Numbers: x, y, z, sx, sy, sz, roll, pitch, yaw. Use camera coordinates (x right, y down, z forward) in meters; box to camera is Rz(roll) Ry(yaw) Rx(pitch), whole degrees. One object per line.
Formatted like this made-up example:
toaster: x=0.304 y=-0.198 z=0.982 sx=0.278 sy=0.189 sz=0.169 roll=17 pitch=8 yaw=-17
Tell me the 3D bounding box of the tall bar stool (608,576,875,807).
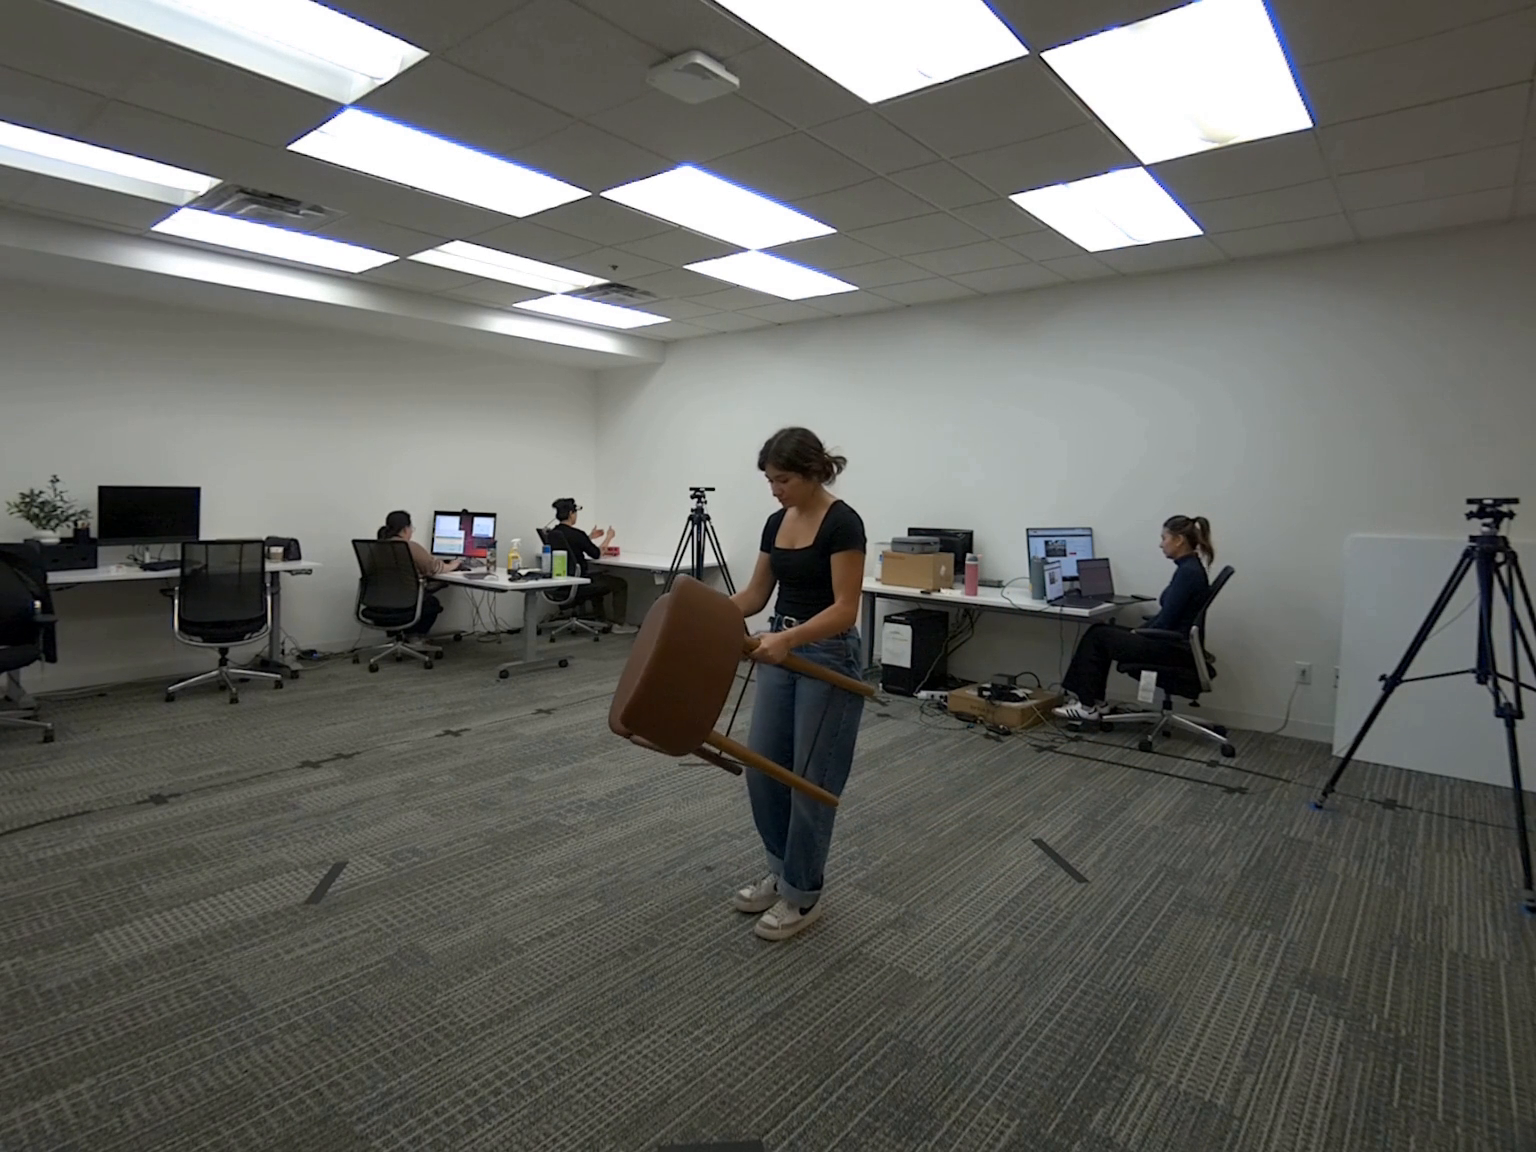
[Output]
tall bar stool: x=-0.168 y=0.330 z=2.487 sx=0.484 sy=0.459 sz=0.853 roll=8 pitch=-19 yaw=47
